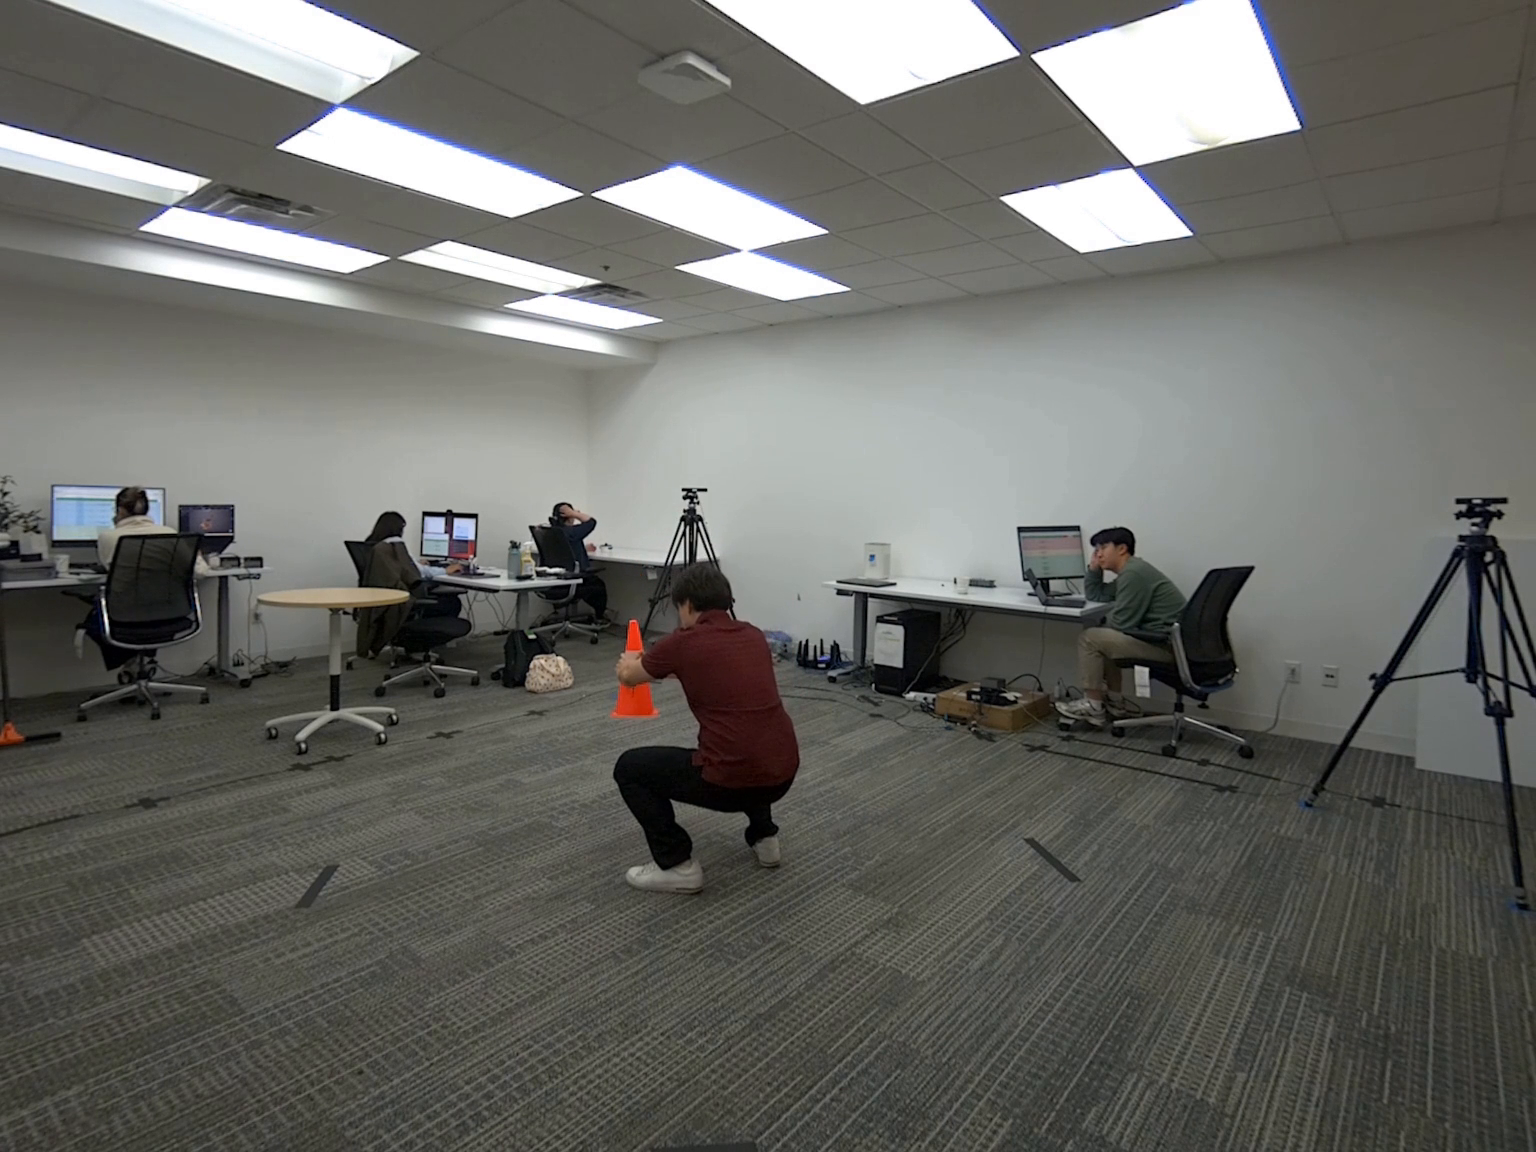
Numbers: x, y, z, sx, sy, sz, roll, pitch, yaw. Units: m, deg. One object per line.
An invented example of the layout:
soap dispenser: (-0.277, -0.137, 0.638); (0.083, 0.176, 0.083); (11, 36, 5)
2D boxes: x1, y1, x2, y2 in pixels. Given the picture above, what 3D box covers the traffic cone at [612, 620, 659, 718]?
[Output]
traffic cone: (-0.569, 0.367, 3.525); (0.201, 0.384, 0.207); (-1, 1, -10)
